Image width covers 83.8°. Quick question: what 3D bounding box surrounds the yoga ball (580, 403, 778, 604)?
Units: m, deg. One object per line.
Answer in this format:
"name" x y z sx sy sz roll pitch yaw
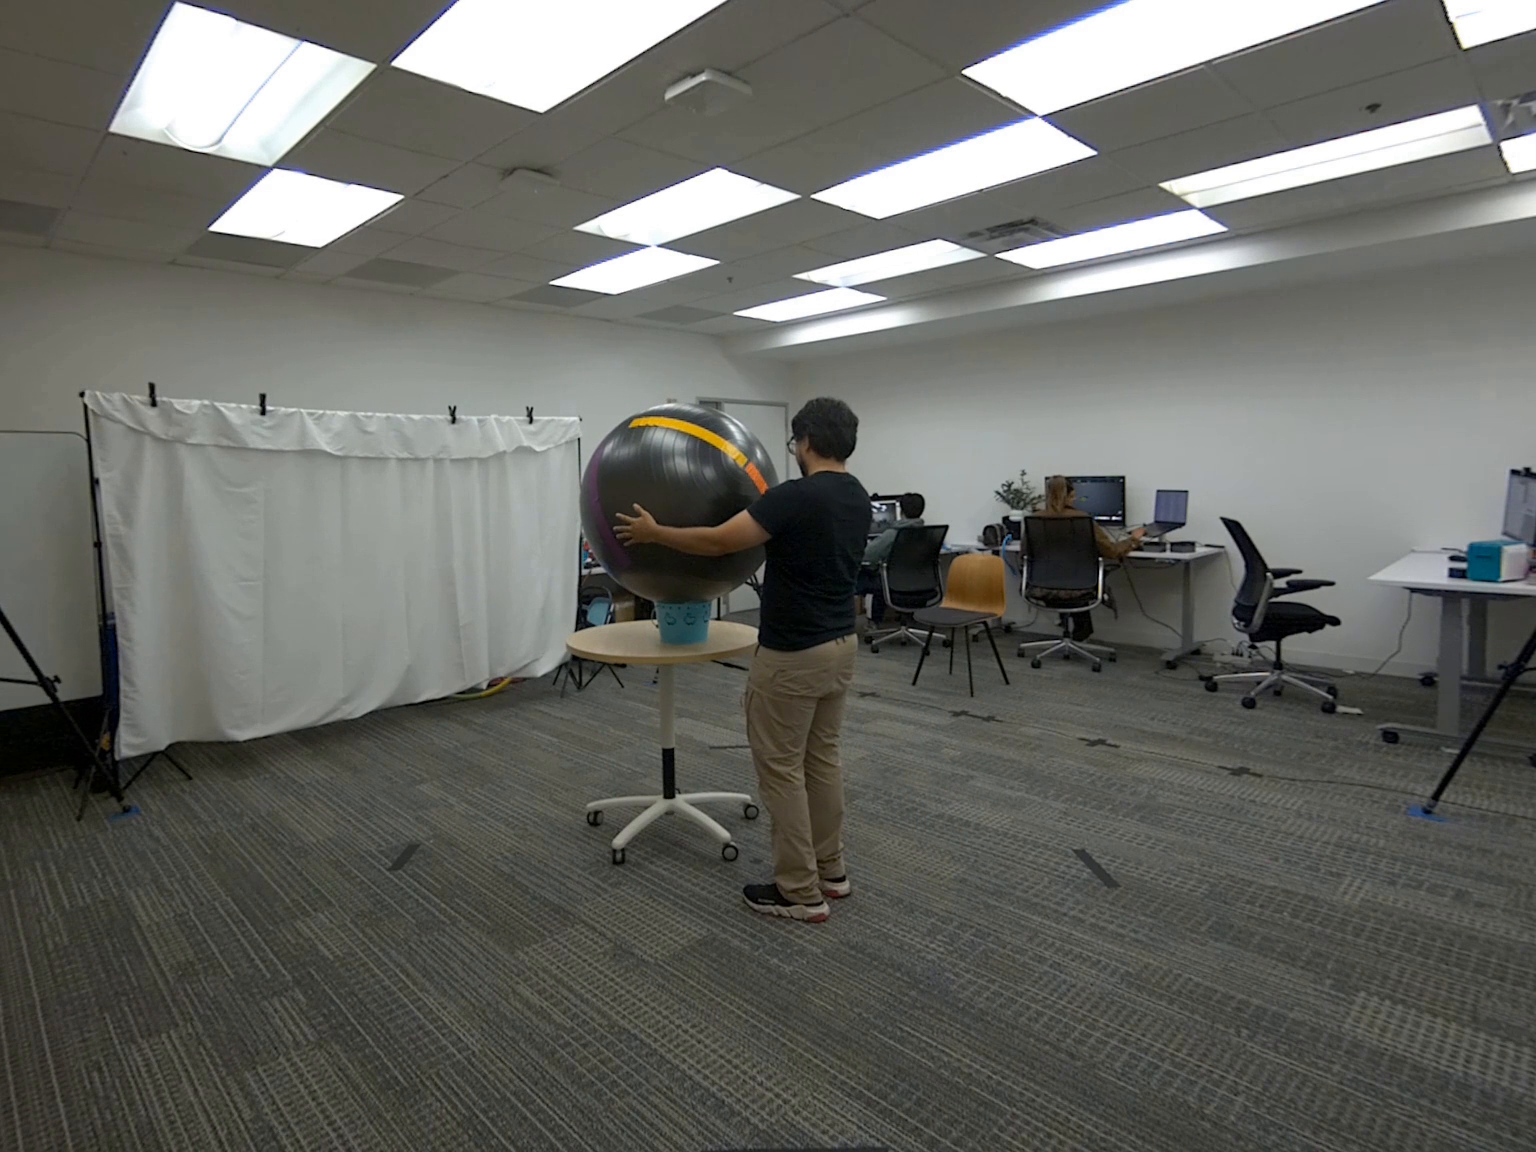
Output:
"yoga ball" -0.328 -0.265 3.226 0.757 0.755 0.762 -1 5 -2
